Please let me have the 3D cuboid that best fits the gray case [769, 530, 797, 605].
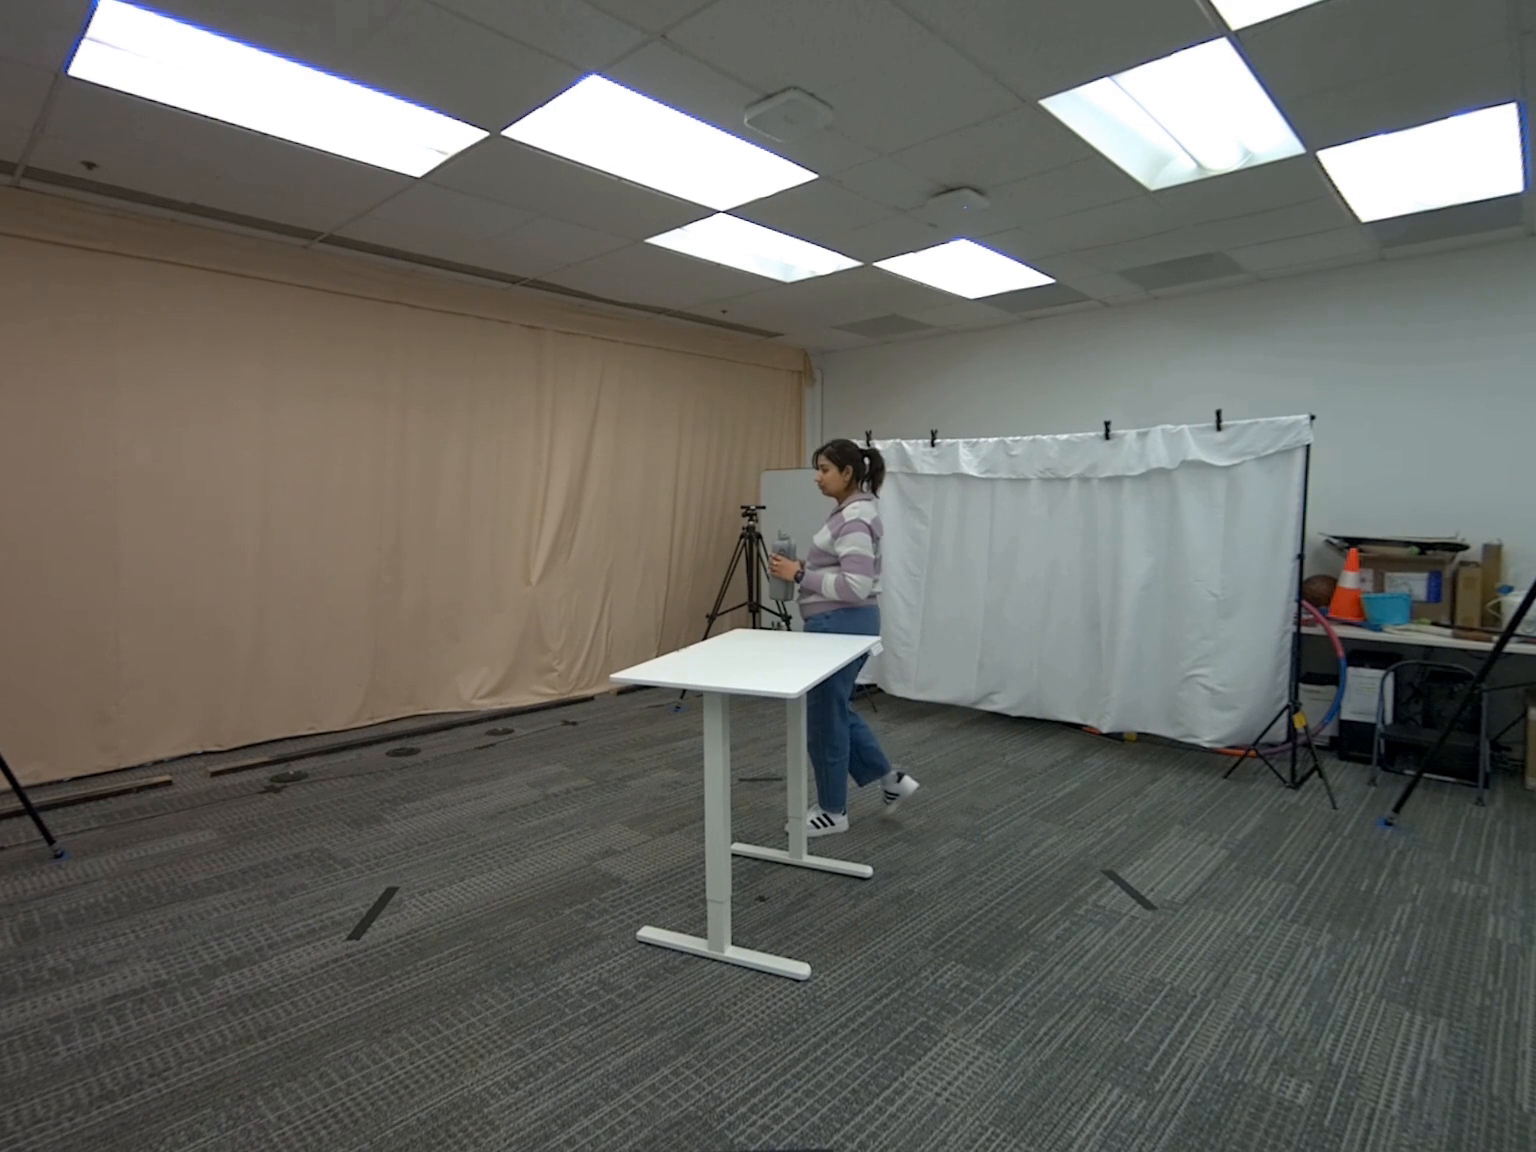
[{"bbox_3d":[0.071,-0.031,3.603,0.104,0.260,0.257,2,3,1],"label":"gray case"}]
